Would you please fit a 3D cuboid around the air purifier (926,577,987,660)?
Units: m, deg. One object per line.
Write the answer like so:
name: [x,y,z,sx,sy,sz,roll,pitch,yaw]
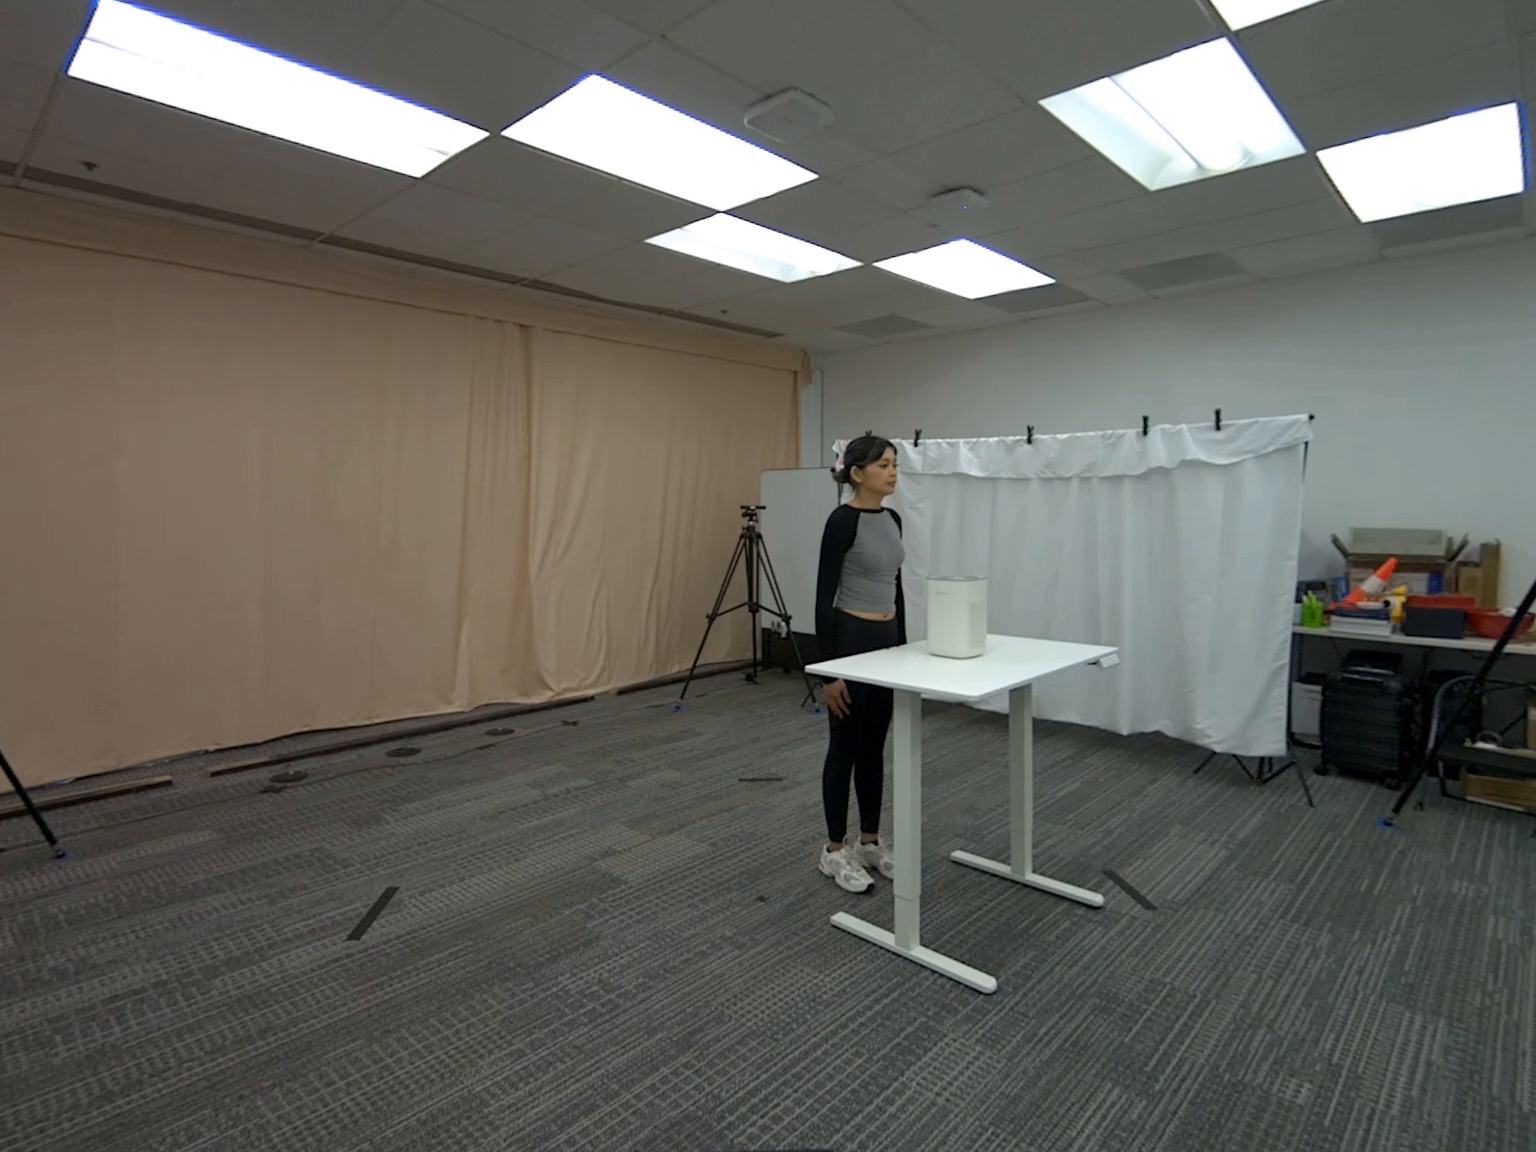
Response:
air purifier: [0.640,0.134,2.868,0.166,0.265,0.177,-5,5,-42]
